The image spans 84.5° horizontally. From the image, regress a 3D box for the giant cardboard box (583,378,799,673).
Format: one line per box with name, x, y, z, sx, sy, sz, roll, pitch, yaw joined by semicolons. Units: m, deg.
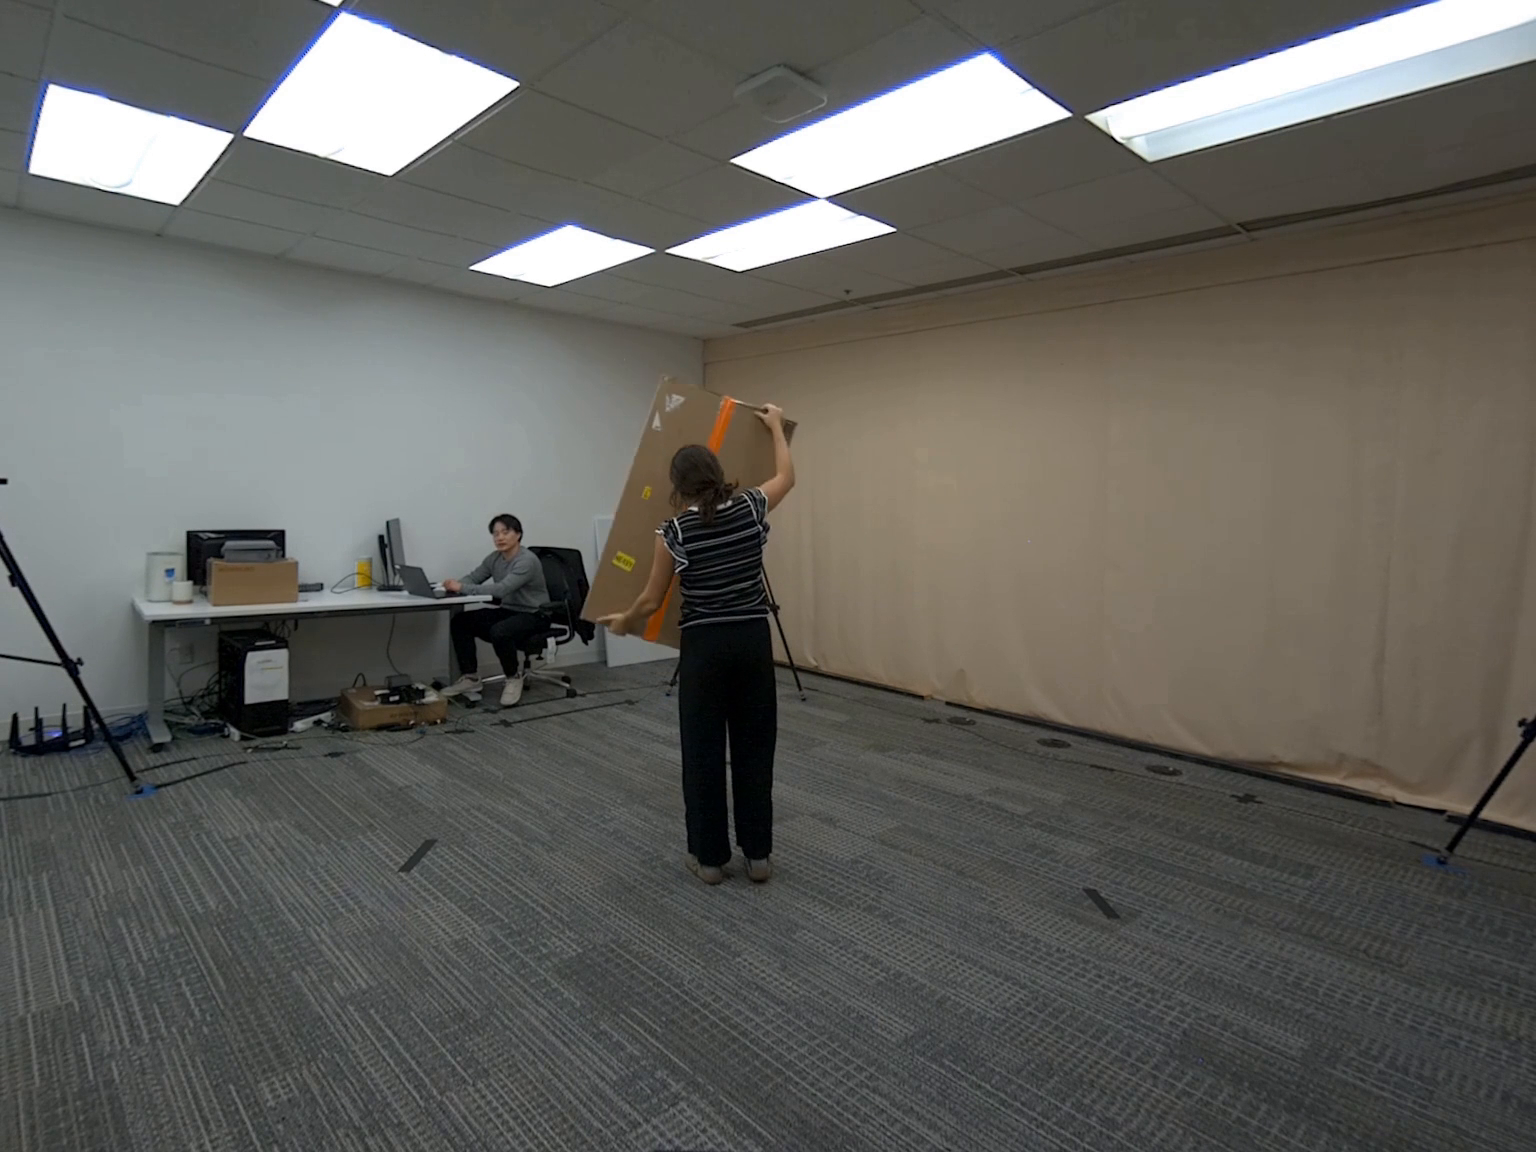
giant cardboard box;-0.344;-0.233;3.541;0.573;1.027;0.428;19;-3;-7
